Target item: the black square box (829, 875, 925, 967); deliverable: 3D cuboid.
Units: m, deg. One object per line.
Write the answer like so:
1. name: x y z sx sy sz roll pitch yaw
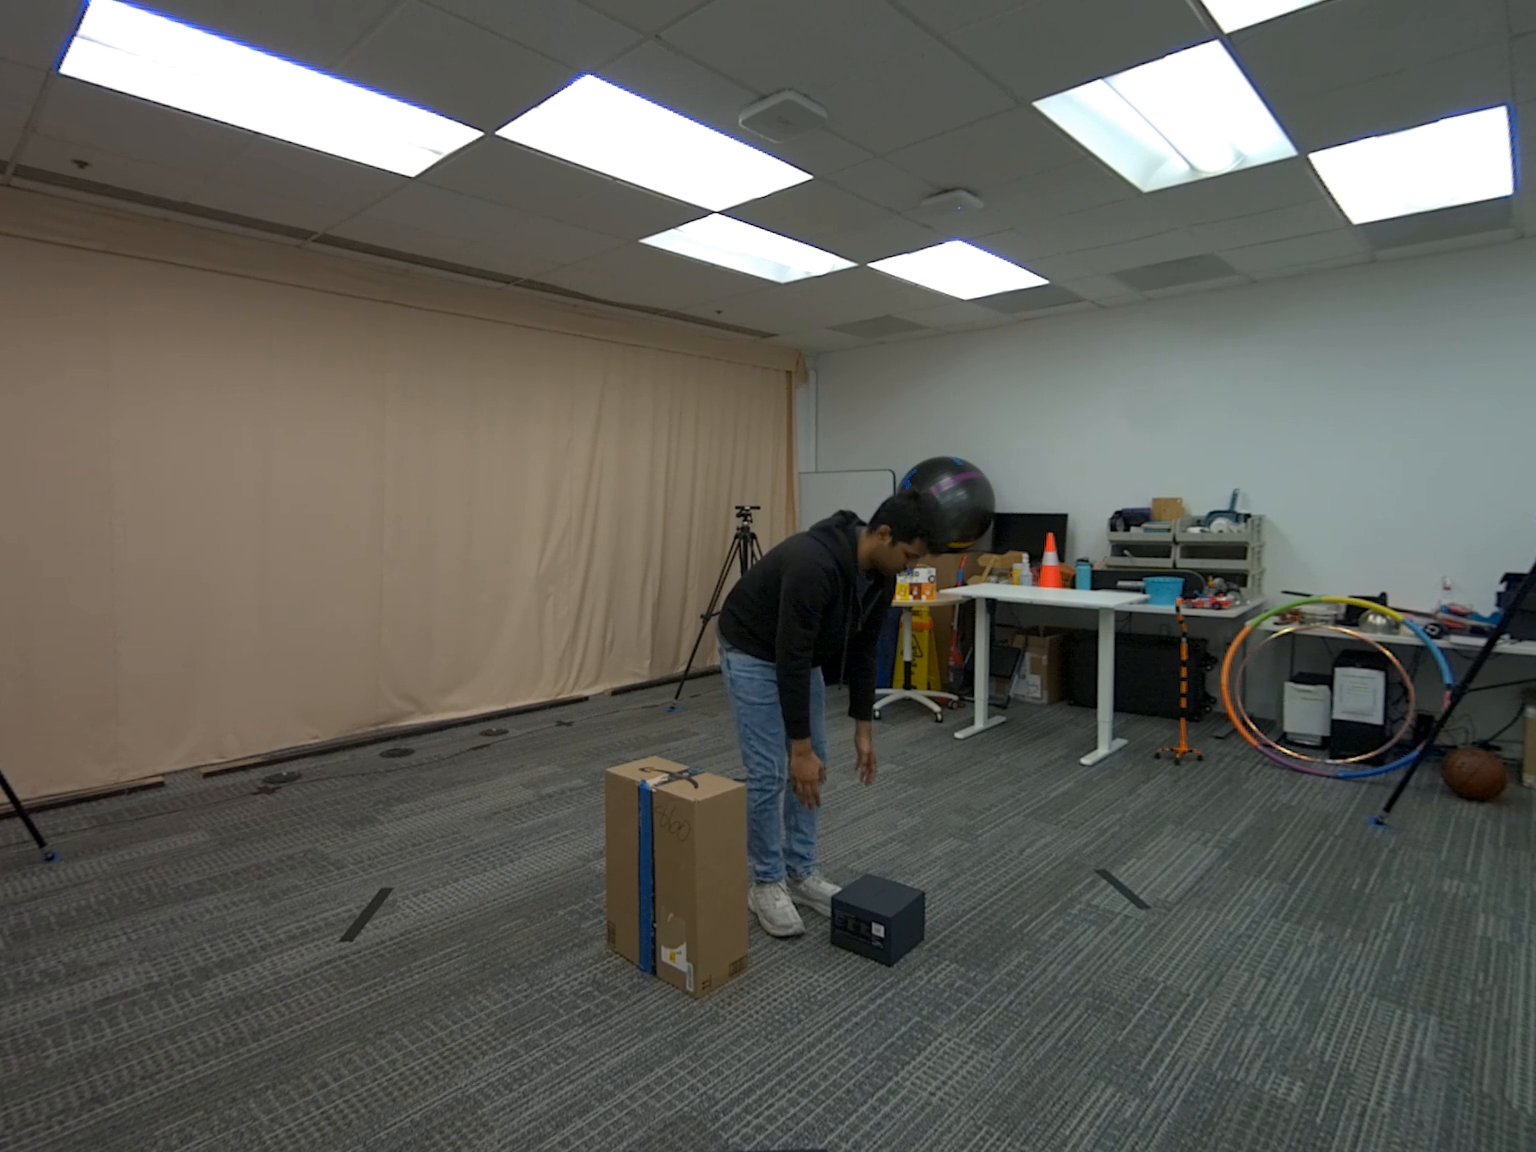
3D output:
1. black square box: 0.359 1.086 2.674 0.224 0.155 0.221 3 5 38
